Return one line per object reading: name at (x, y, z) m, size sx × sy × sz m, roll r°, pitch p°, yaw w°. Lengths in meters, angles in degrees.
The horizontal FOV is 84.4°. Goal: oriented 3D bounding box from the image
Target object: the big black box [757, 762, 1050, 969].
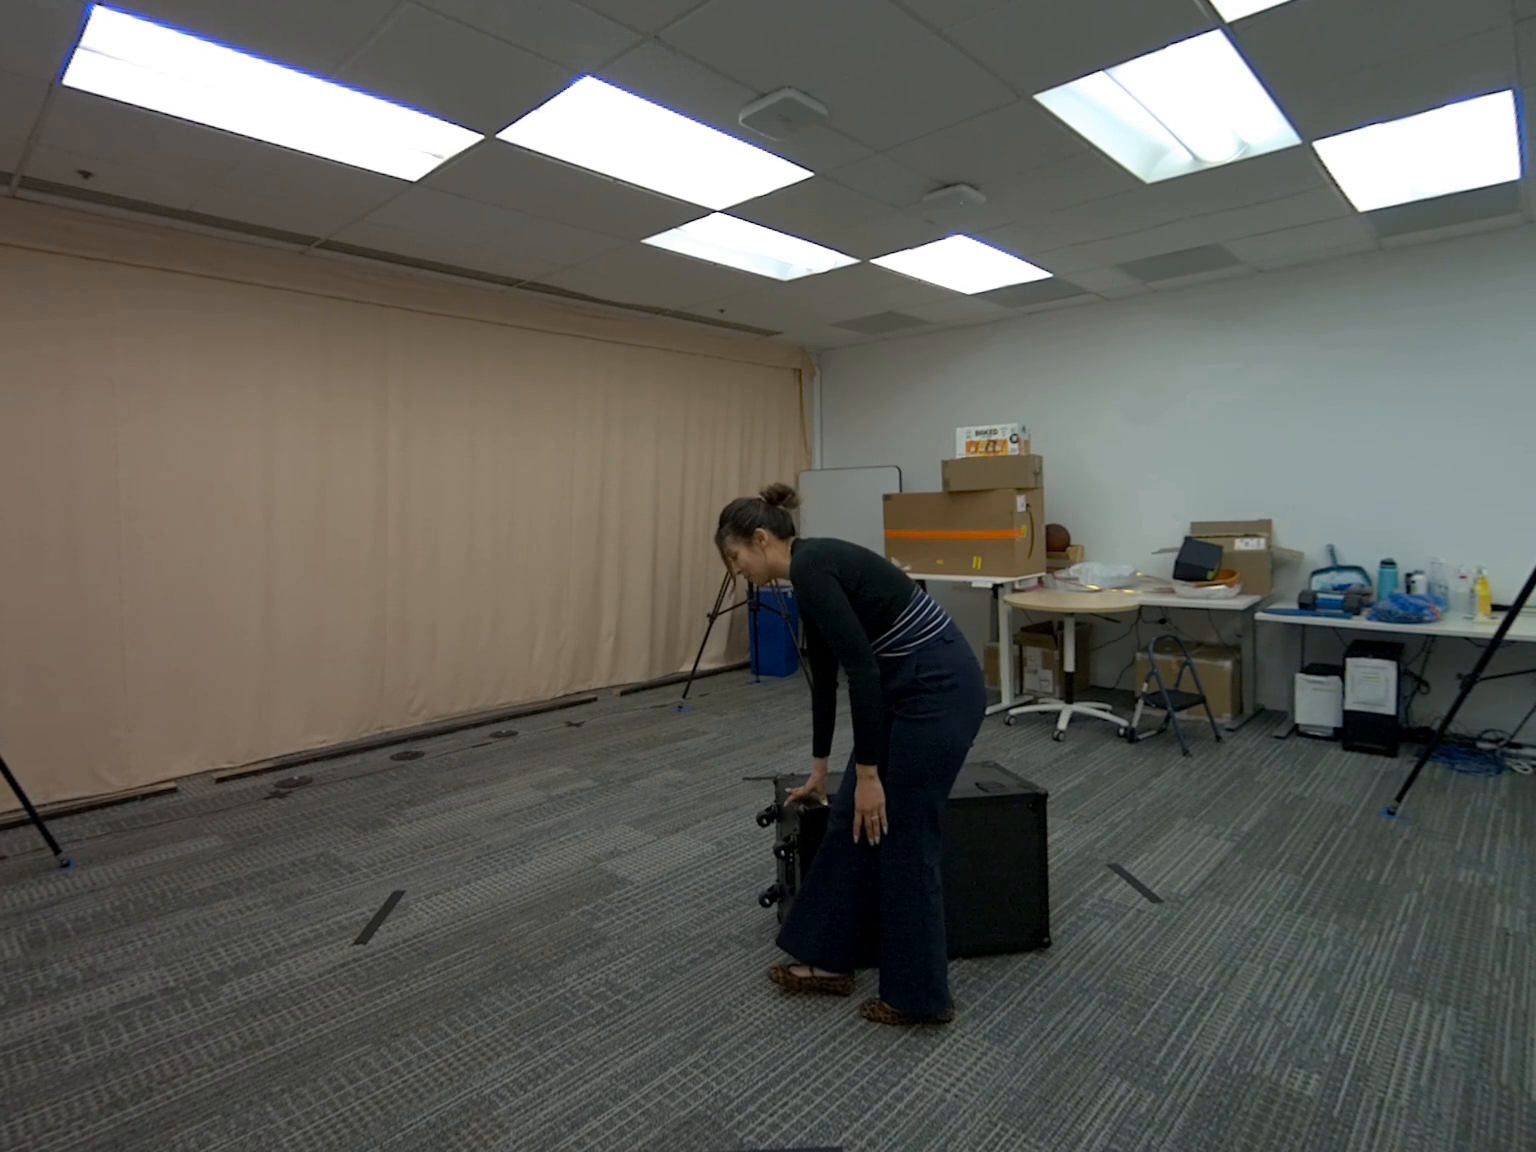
big black box at (0.413, 0.900, 2.713) m, size 0.854 × 0.521 × 0.400 m, roll -2°, pitch 1°, yaw -9°
